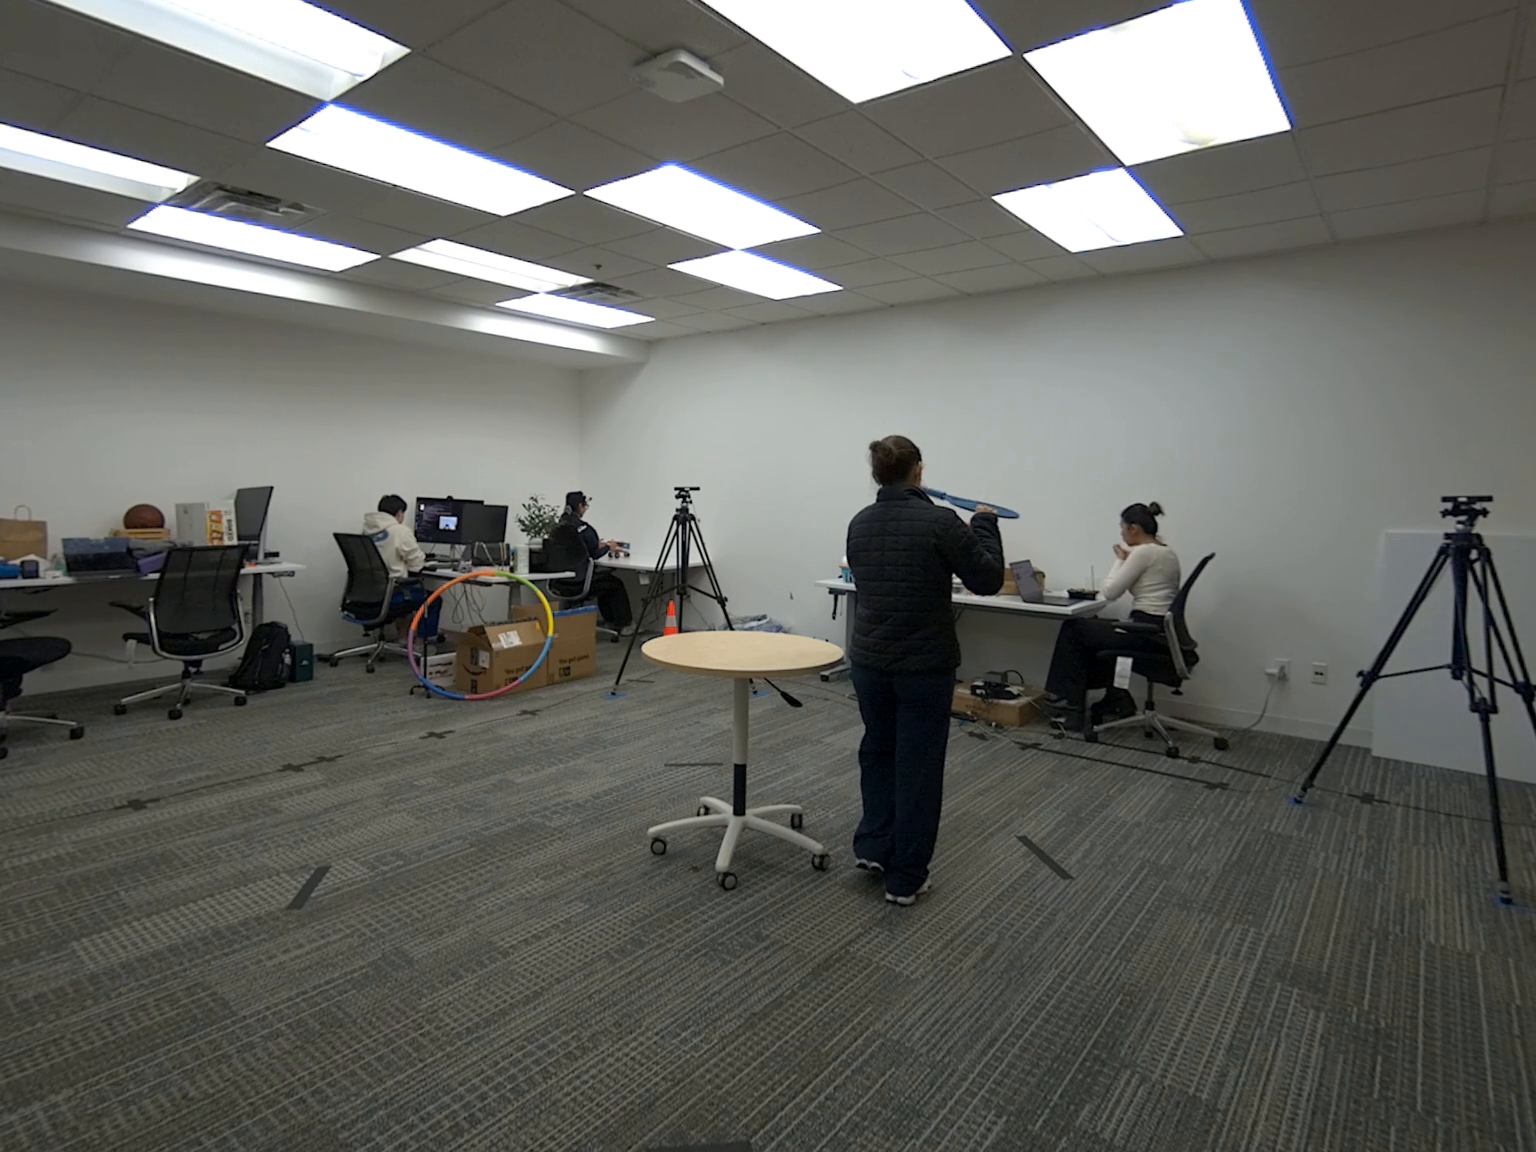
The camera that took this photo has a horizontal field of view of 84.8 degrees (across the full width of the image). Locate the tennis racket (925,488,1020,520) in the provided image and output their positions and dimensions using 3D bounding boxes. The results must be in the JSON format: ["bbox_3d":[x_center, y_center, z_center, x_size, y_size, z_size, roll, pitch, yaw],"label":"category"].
[{"bbox_3d":[0.743,-0.271,3.152,0.207,0.031,0.450,-1,19,-33],"label":"tennis racket"}]
